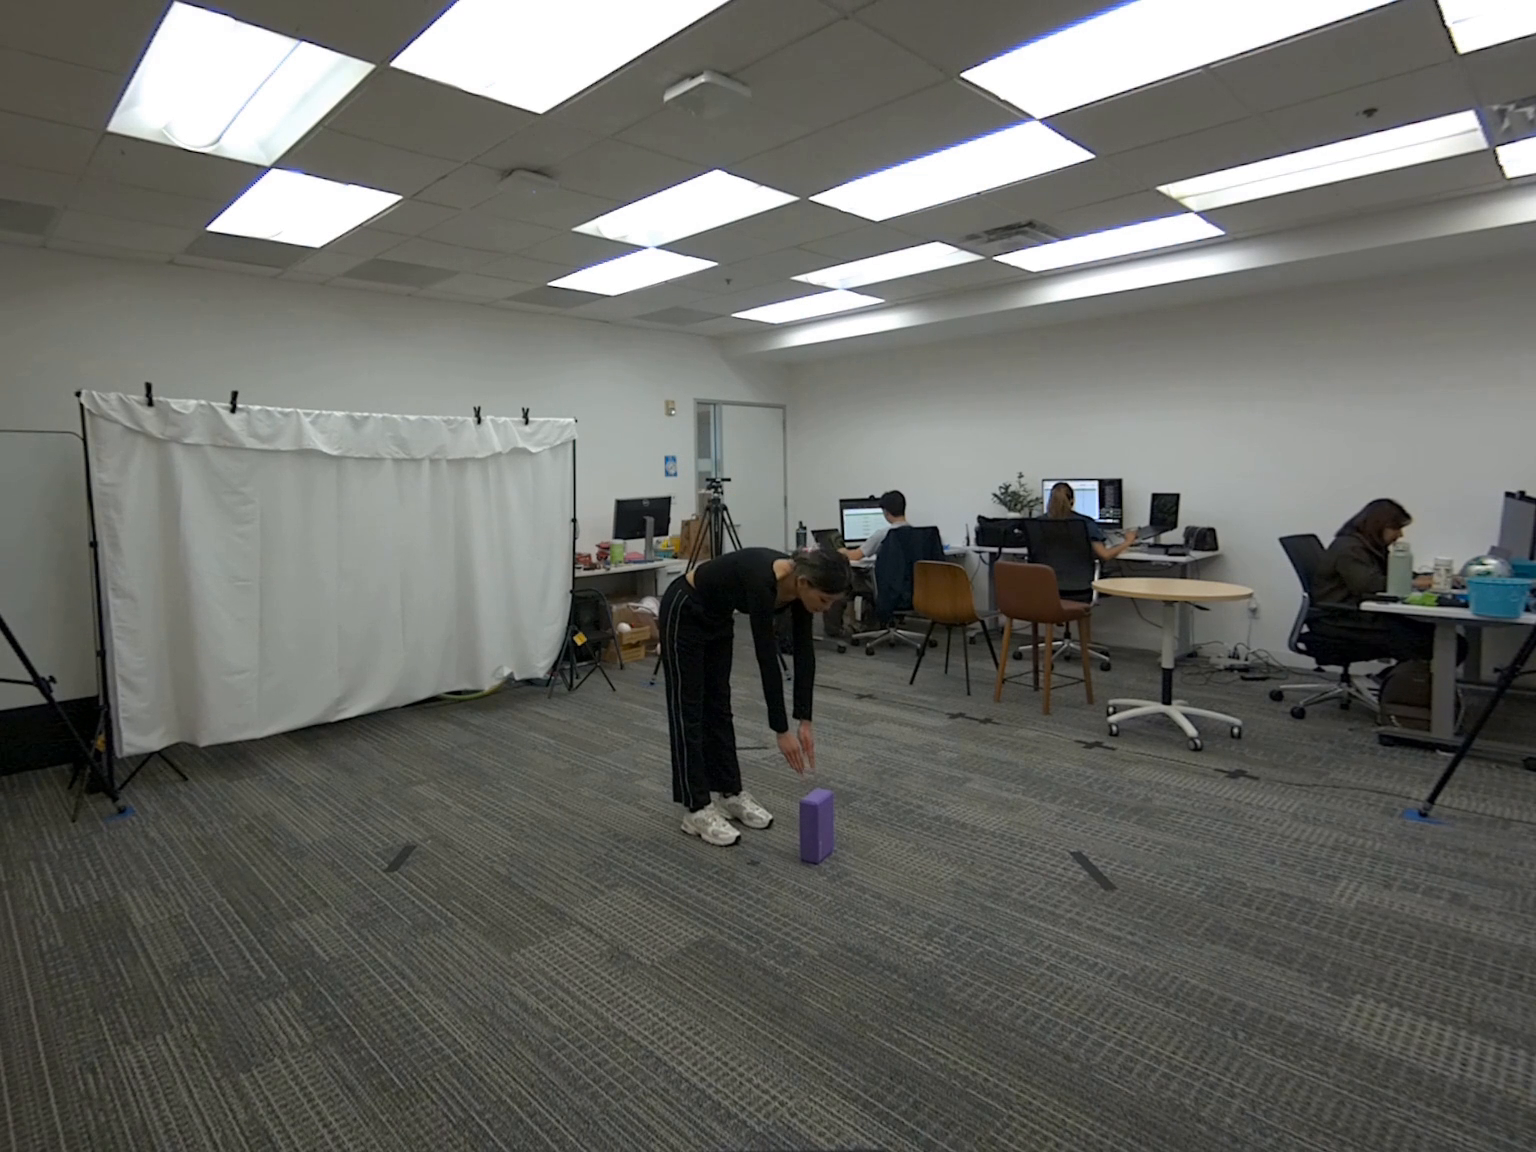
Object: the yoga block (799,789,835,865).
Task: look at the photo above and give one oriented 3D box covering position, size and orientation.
[{"bbox_3d":[0.184,0.918,3.148,0.078,0.229,0.146,1,4,28],"label":"yoga block"}]
